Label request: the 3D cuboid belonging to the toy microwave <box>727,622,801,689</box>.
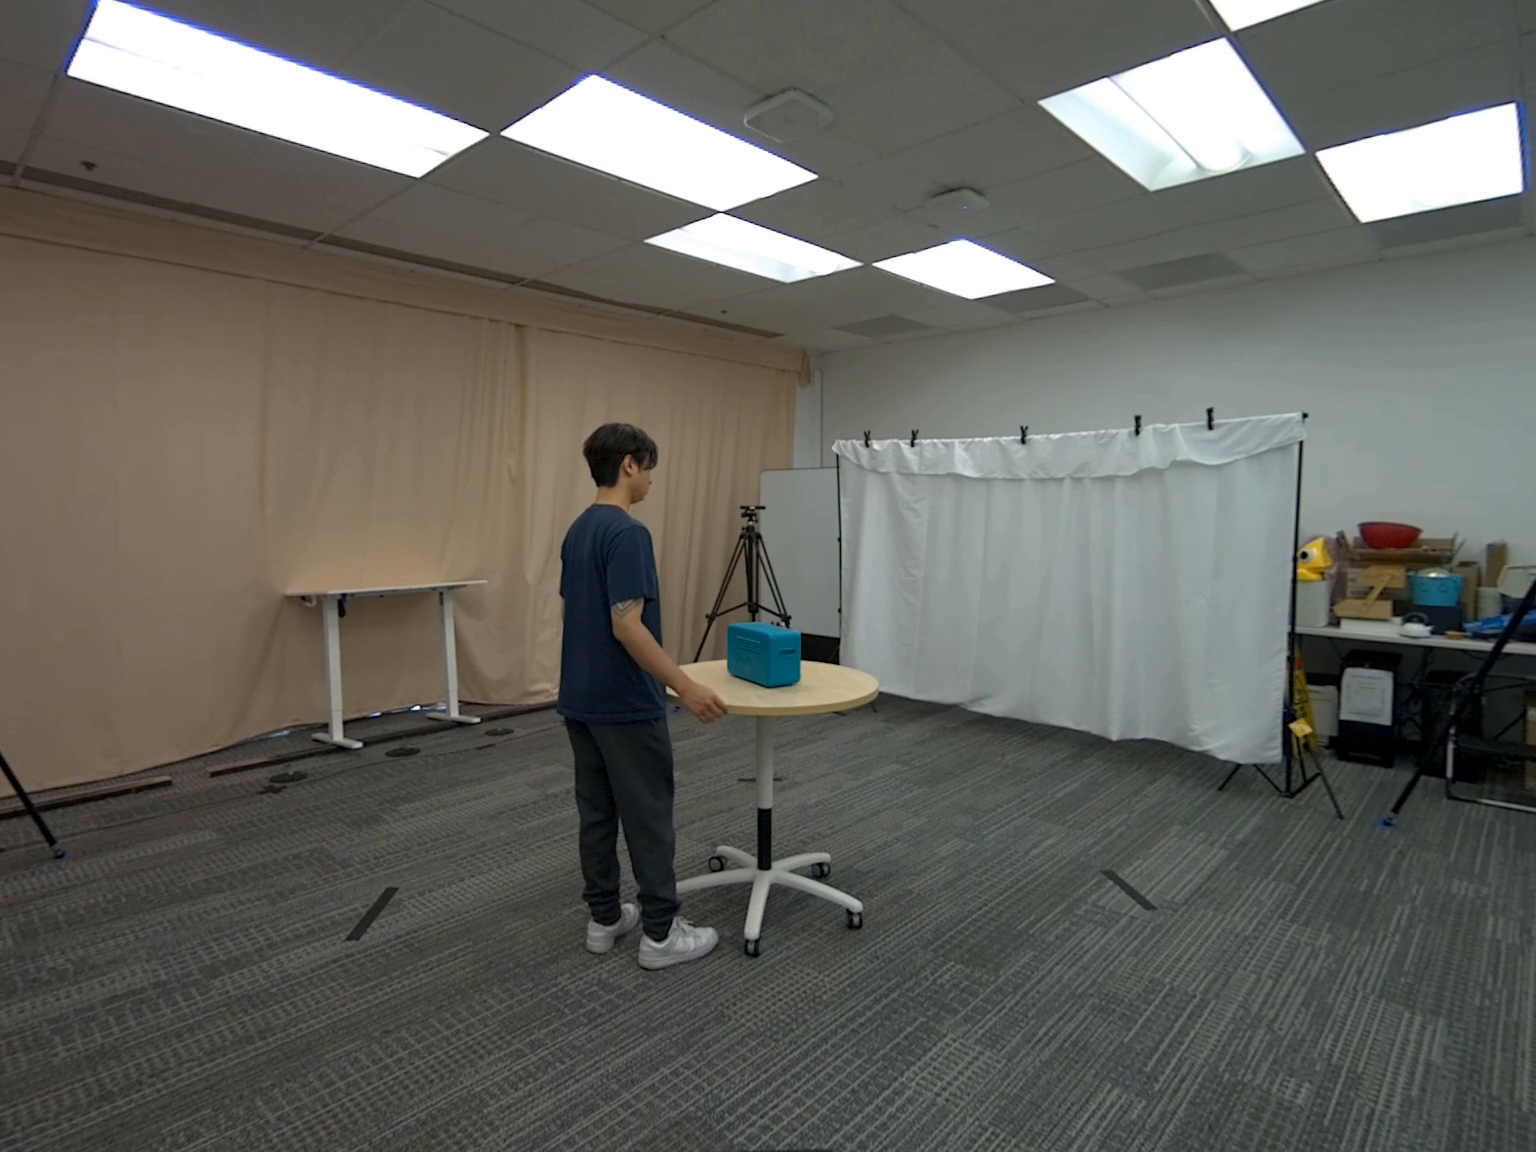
[{"bbox_3d":[-0.004,0.262,2.871,0.148,0.184,0.295,-1,4,-31],"label":"toy microwave"}]
